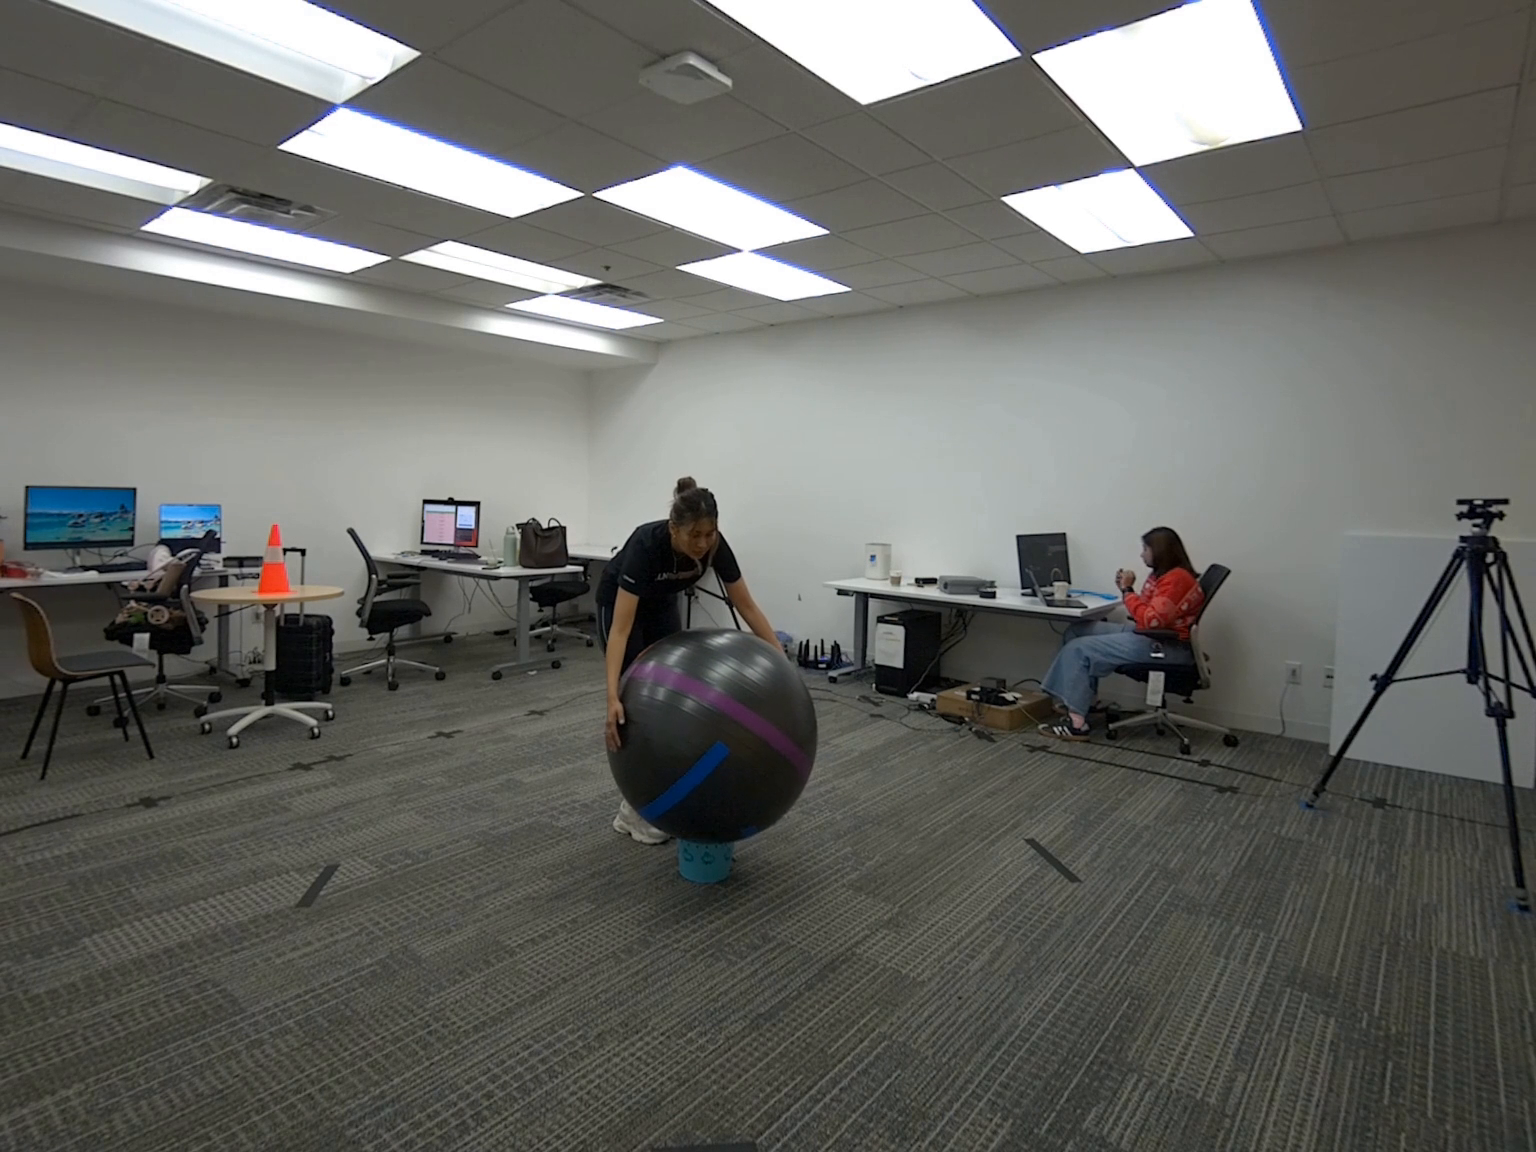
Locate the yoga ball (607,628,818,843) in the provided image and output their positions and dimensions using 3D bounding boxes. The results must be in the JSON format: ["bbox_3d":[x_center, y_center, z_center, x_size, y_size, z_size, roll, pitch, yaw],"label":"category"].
[{"bbox_3d":[-0.212,0.563,3.058,0.757,0.756,0.761,1,4,-2],"label":"yoga ball"}]
